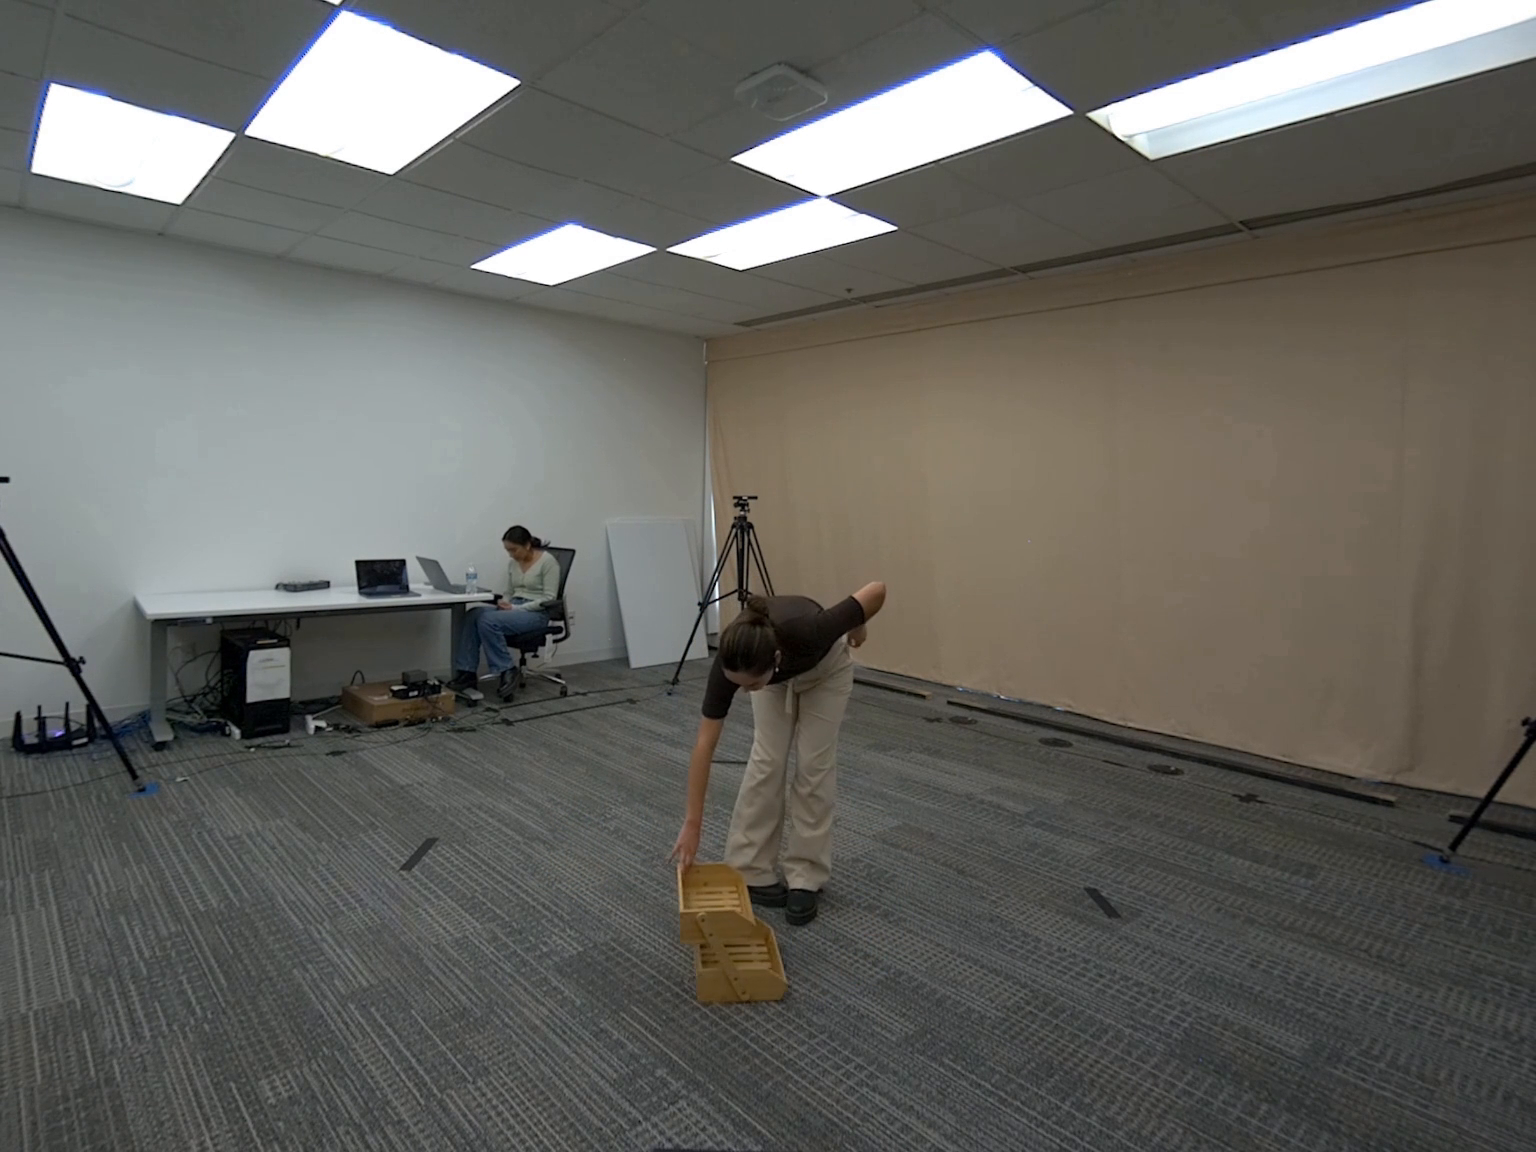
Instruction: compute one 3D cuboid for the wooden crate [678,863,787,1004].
[{"bbox_3d":[-0.113,1.029,2.458,0.300,0.272,0.327,0,4,-7],"label":"wooden crate"}]
